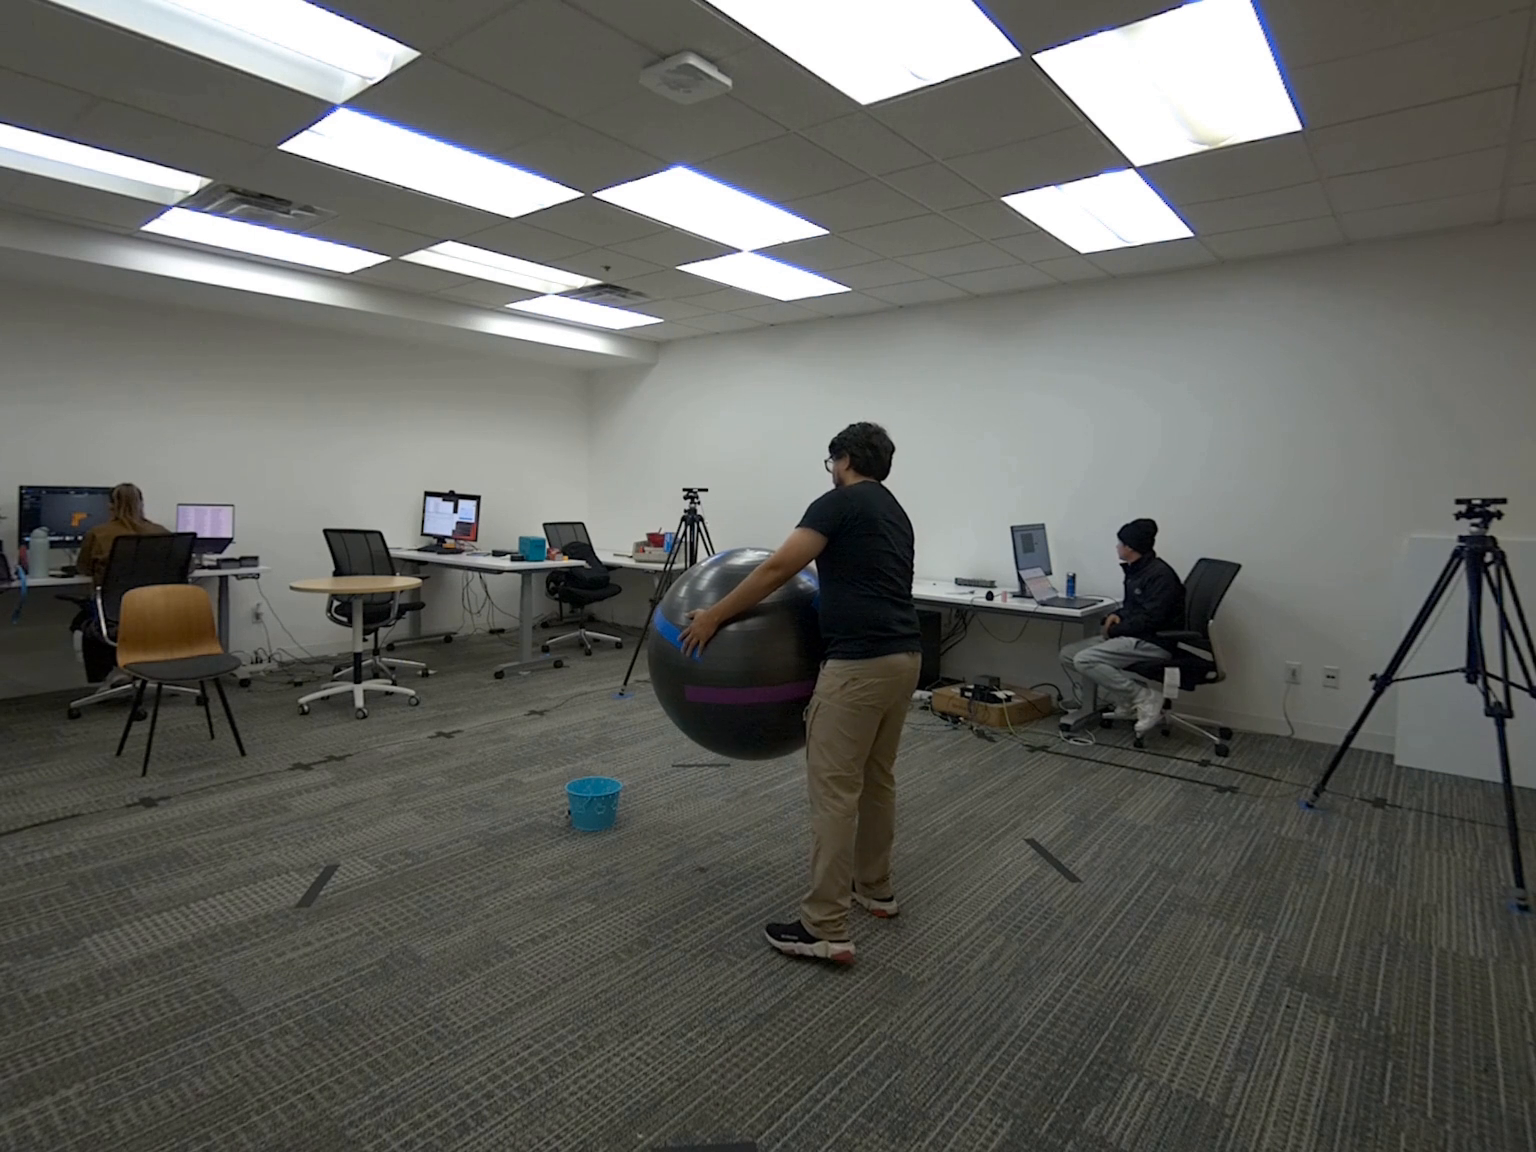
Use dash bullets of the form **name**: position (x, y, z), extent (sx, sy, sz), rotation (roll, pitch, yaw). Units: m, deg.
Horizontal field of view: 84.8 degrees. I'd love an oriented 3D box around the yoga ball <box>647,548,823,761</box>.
- **yoga ball**: position (-0.074, 0.286, 3.092), extent (0.757, 0.756, 0.761), rotation (1, 4, -2)
